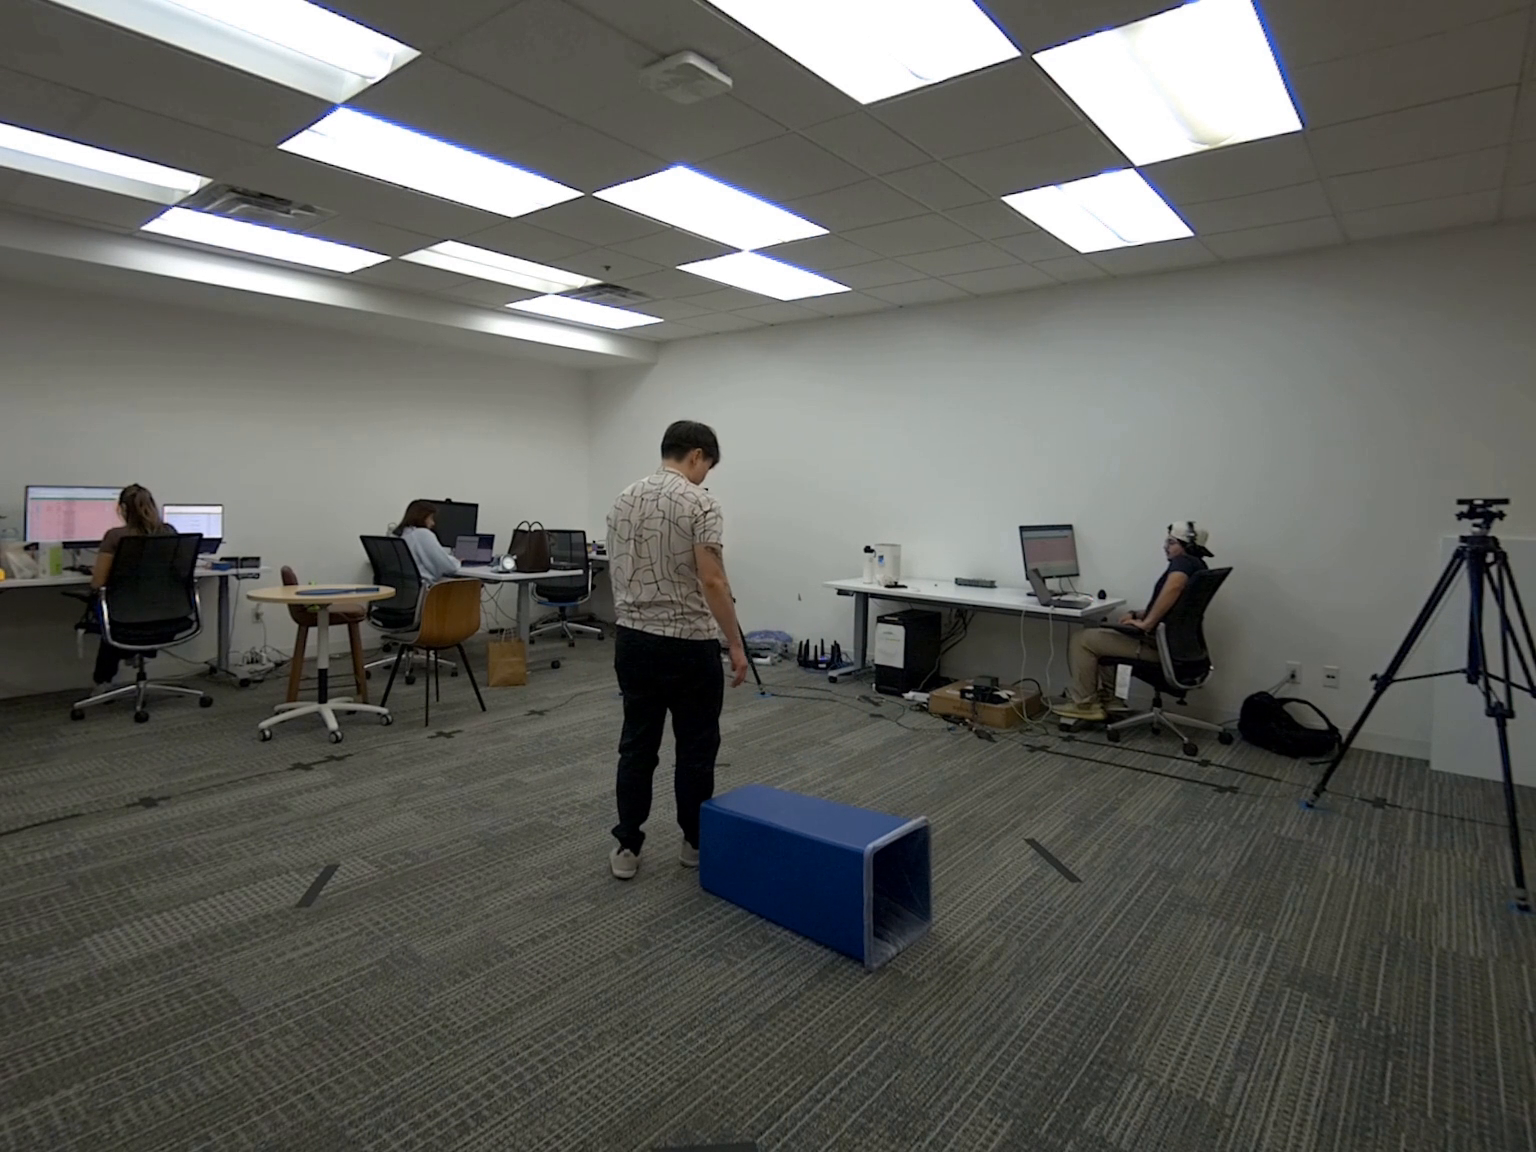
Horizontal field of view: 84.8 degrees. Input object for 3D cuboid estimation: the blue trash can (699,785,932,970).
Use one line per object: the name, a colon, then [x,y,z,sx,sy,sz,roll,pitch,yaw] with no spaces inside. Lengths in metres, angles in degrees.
blue trash can: [0.123,0.932,2.819,0.737,0.377,0.363,4,5,41]
